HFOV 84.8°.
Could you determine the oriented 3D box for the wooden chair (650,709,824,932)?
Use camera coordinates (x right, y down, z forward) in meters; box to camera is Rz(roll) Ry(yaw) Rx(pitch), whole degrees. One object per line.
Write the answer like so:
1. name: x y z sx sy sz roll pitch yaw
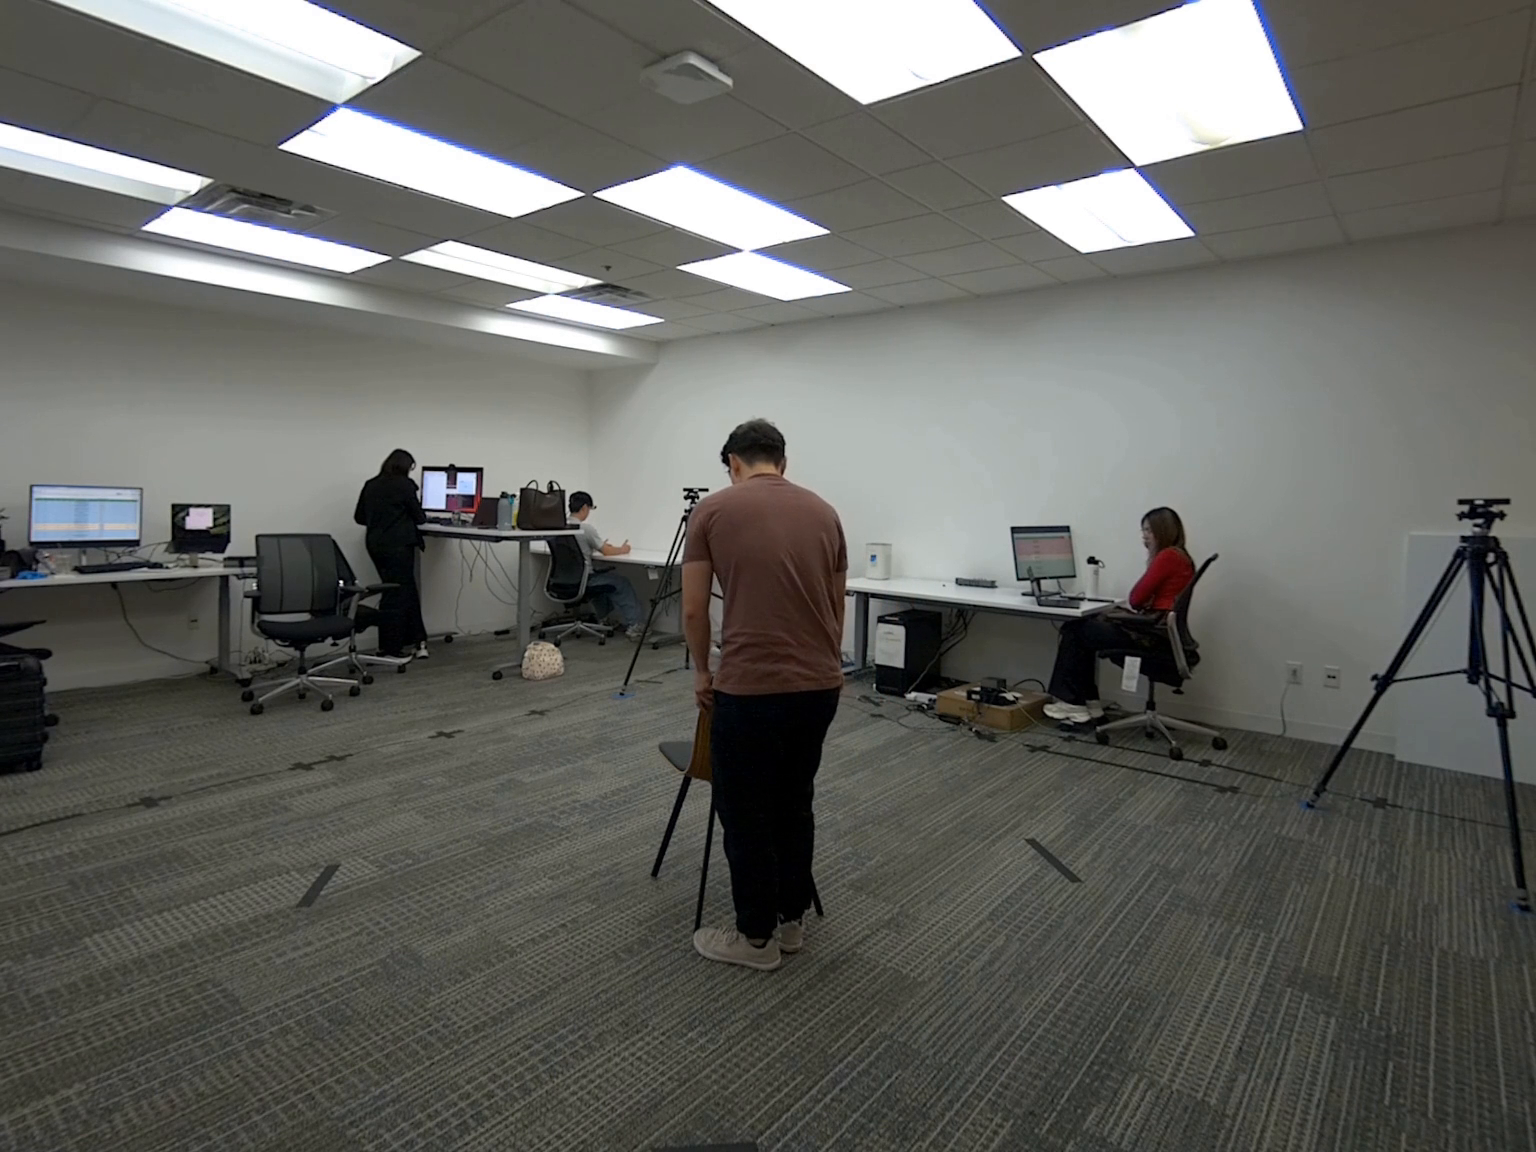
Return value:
1. wooden chair: -0.122 0.663 2.894 0.467 0.871 0.538 -1 8 -24
